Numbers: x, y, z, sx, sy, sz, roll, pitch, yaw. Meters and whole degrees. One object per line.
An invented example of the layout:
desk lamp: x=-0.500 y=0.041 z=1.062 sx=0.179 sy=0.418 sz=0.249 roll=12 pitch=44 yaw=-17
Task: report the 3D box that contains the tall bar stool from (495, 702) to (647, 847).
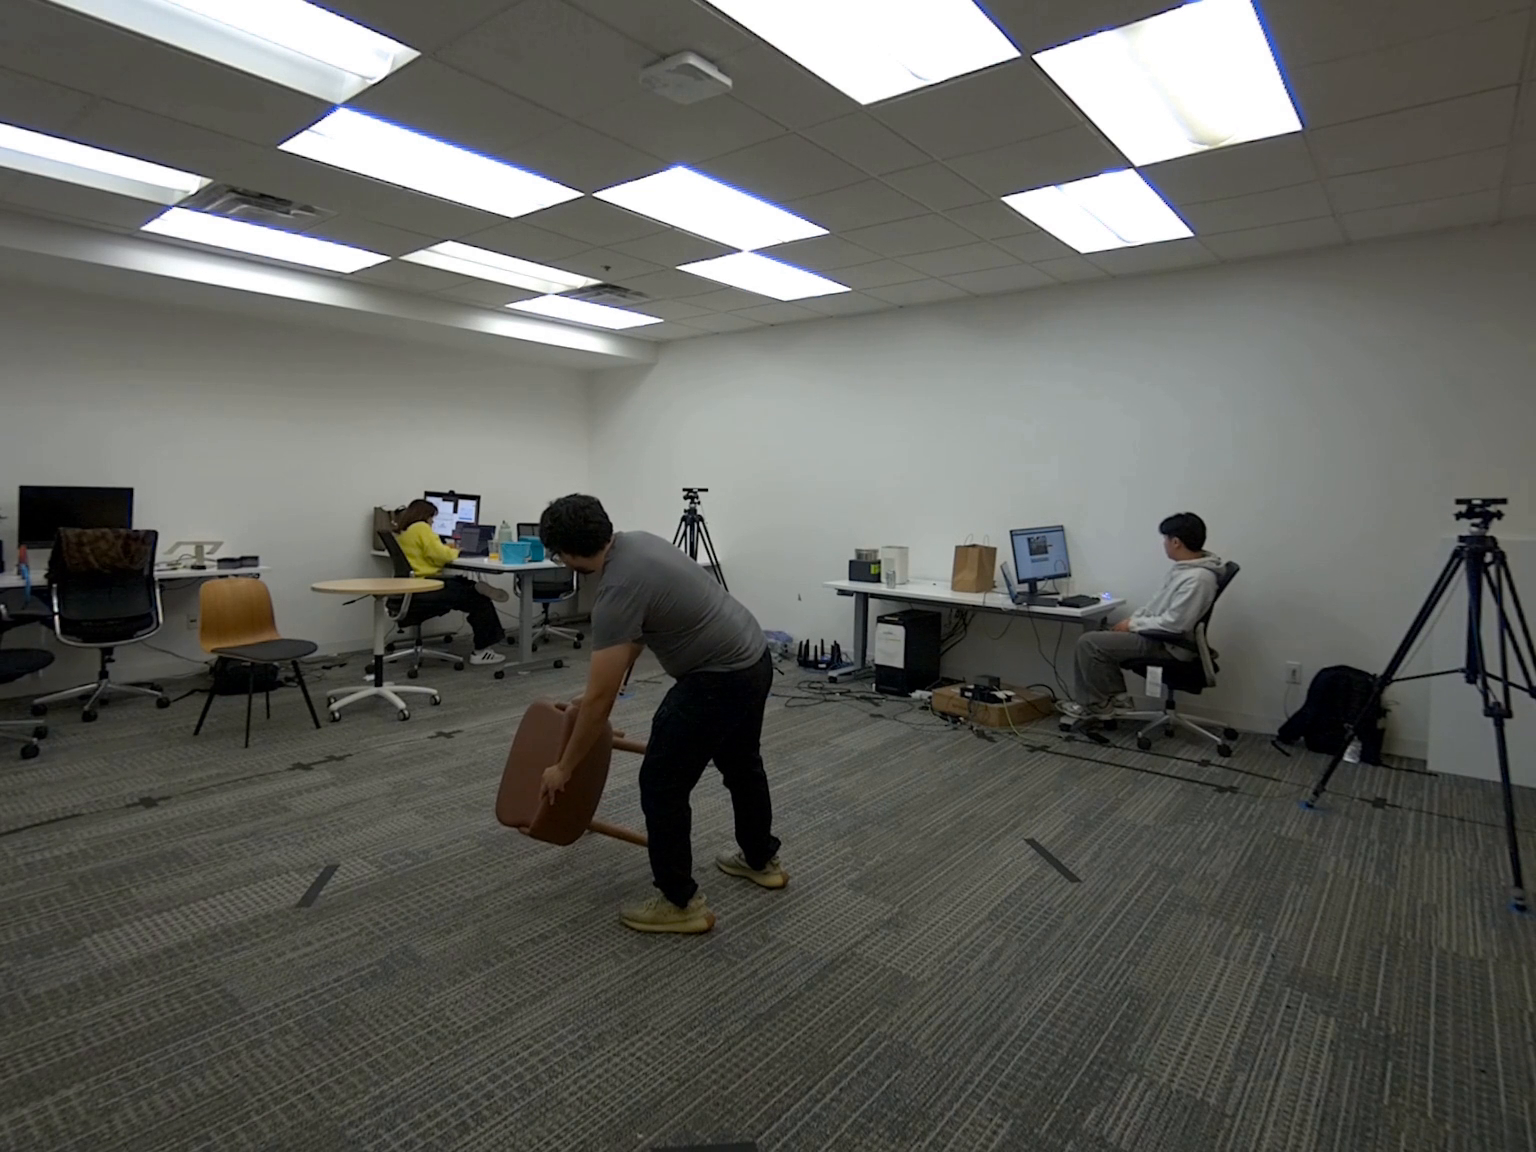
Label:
tall bar stool: x=-0.674 y=0.717 z=3.040 sx=0.482 sy=0.461 sz=0.854 roll=7 pitch=-17 yaw=29
